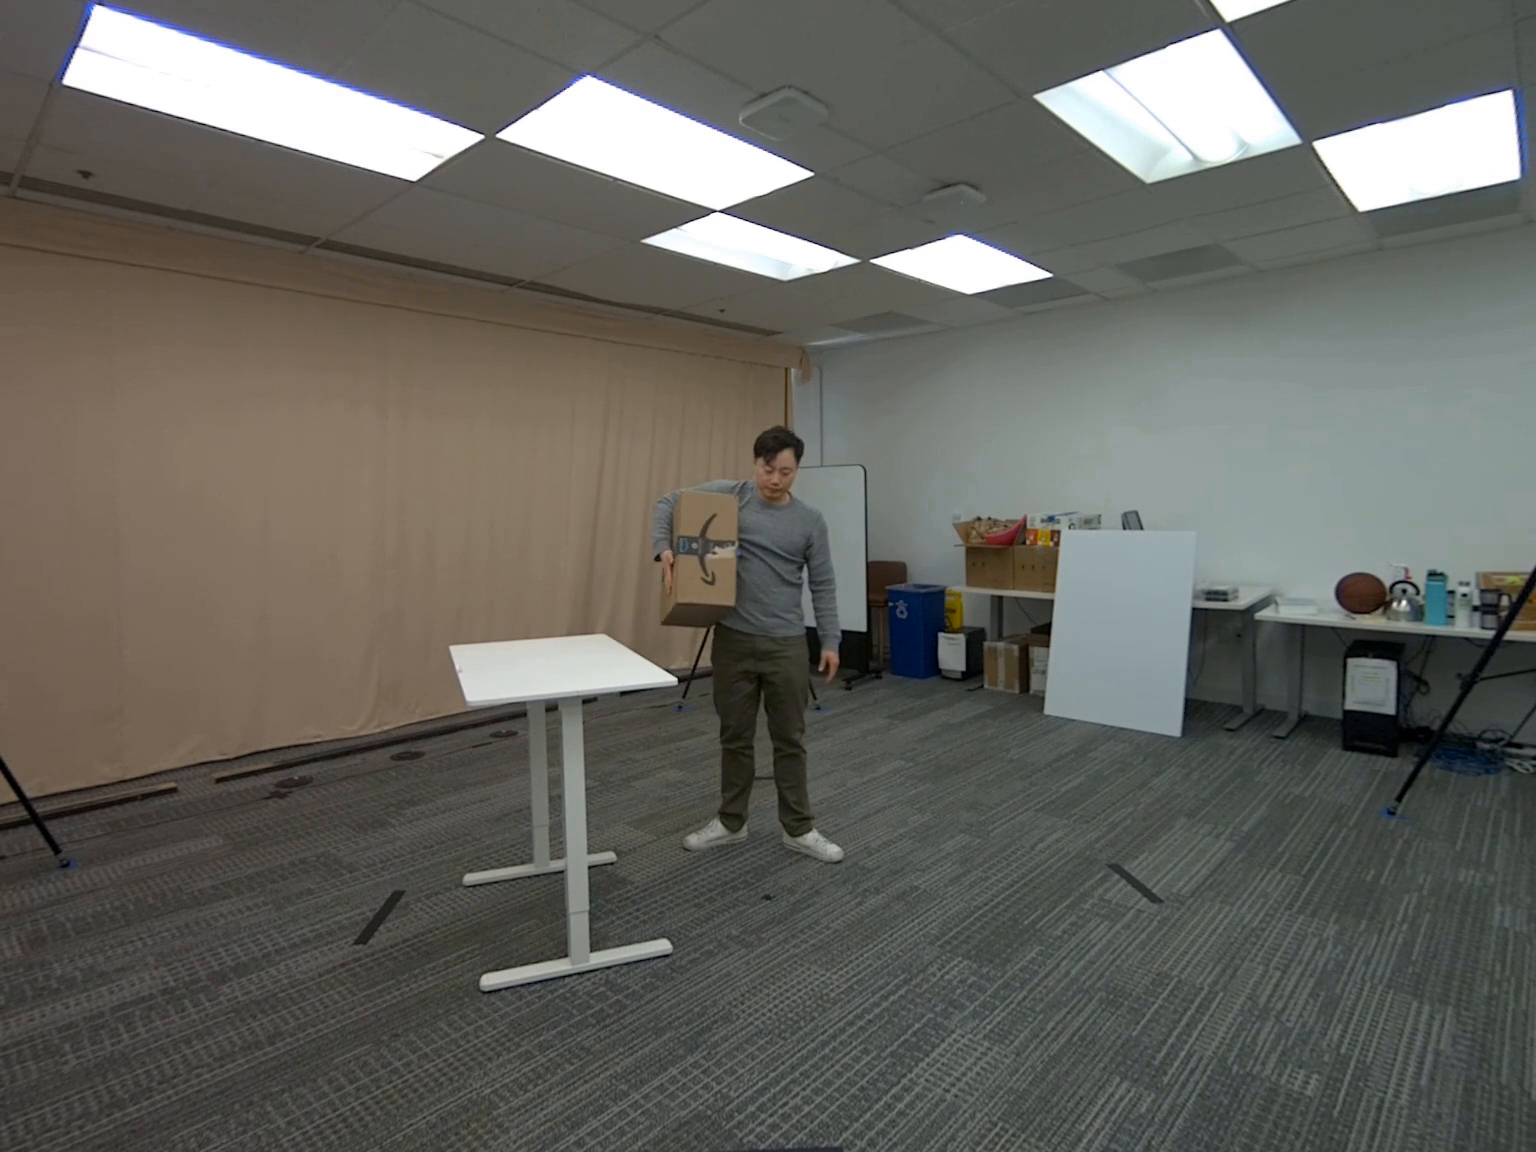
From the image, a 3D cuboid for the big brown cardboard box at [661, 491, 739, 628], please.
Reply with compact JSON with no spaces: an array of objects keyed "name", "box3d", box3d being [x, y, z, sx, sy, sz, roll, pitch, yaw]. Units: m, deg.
[{"name":"big brown cardboard box","box3d":[-0.279,-0.045,3.286,0.231,0.420,0.591,3,-11,-11]}]
